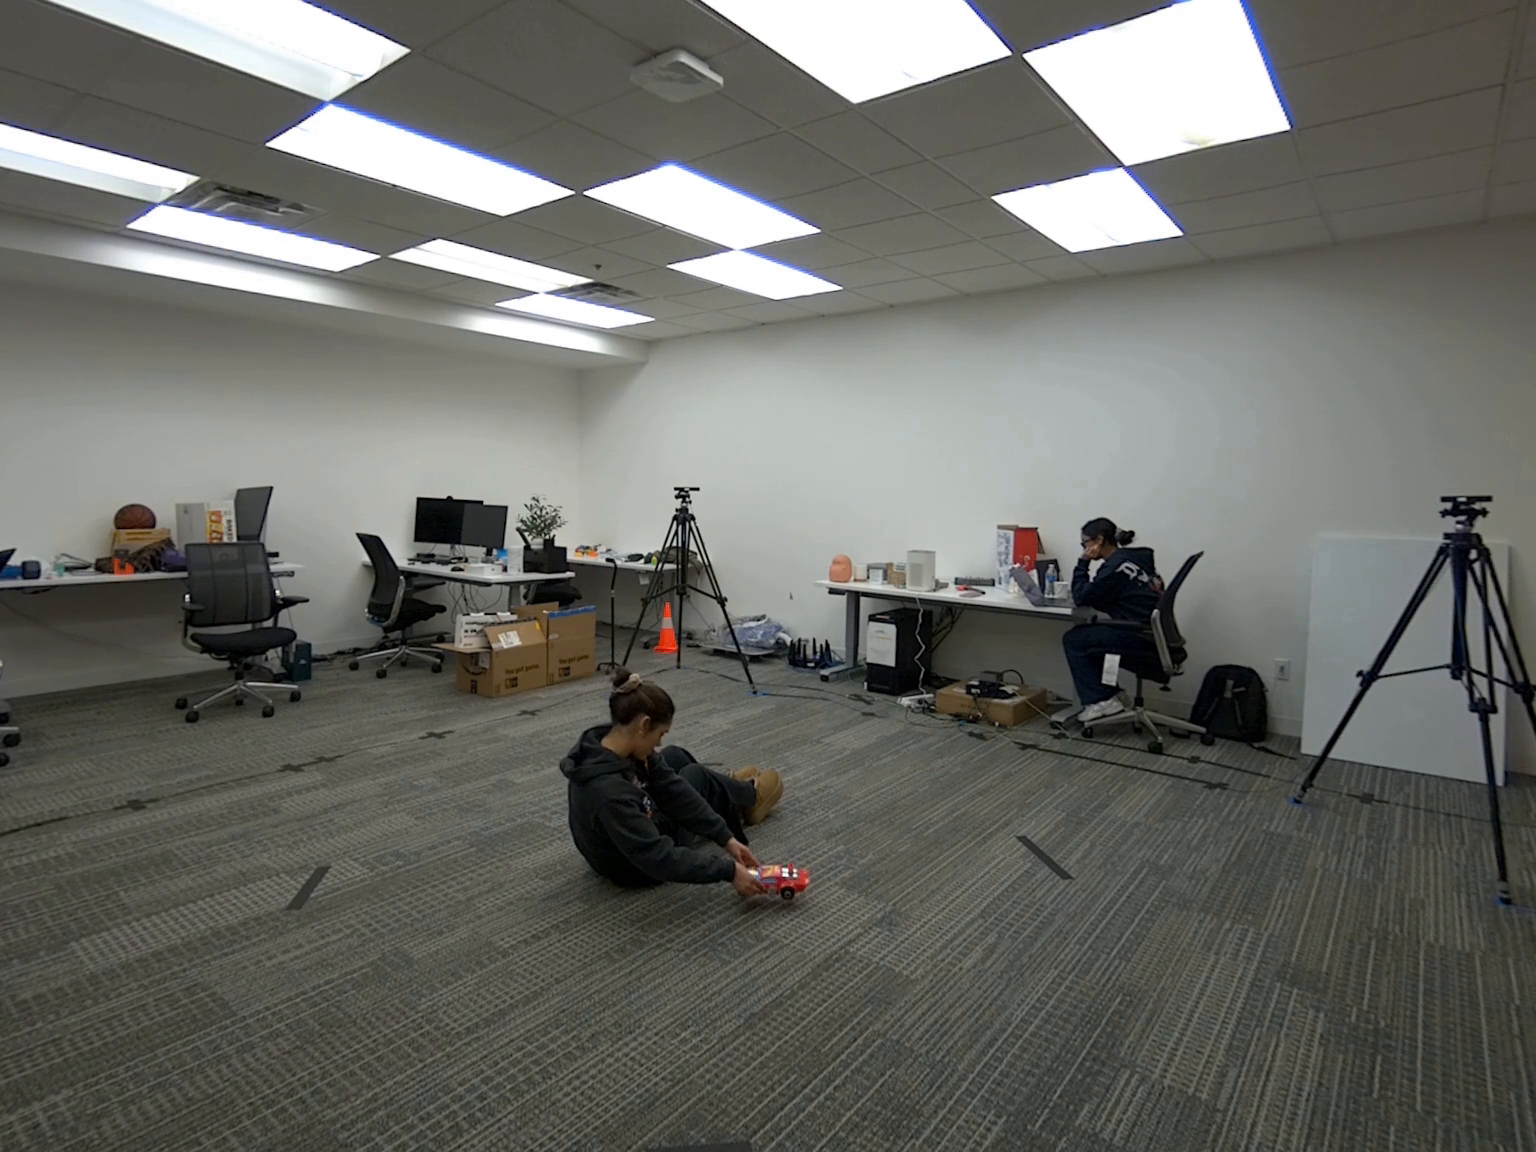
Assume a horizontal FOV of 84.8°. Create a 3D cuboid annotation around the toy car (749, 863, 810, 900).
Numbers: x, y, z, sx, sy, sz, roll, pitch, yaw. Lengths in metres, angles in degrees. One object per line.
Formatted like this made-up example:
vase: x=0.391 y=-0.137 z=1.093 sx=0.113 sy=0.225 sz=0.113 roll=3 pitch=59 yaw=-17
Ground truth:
toy car: x=0.023 y=1.026 z=2.852 sx=0.256 sy=0.082 sz=0.131 roll=-11 pitch=12 yaw=6
